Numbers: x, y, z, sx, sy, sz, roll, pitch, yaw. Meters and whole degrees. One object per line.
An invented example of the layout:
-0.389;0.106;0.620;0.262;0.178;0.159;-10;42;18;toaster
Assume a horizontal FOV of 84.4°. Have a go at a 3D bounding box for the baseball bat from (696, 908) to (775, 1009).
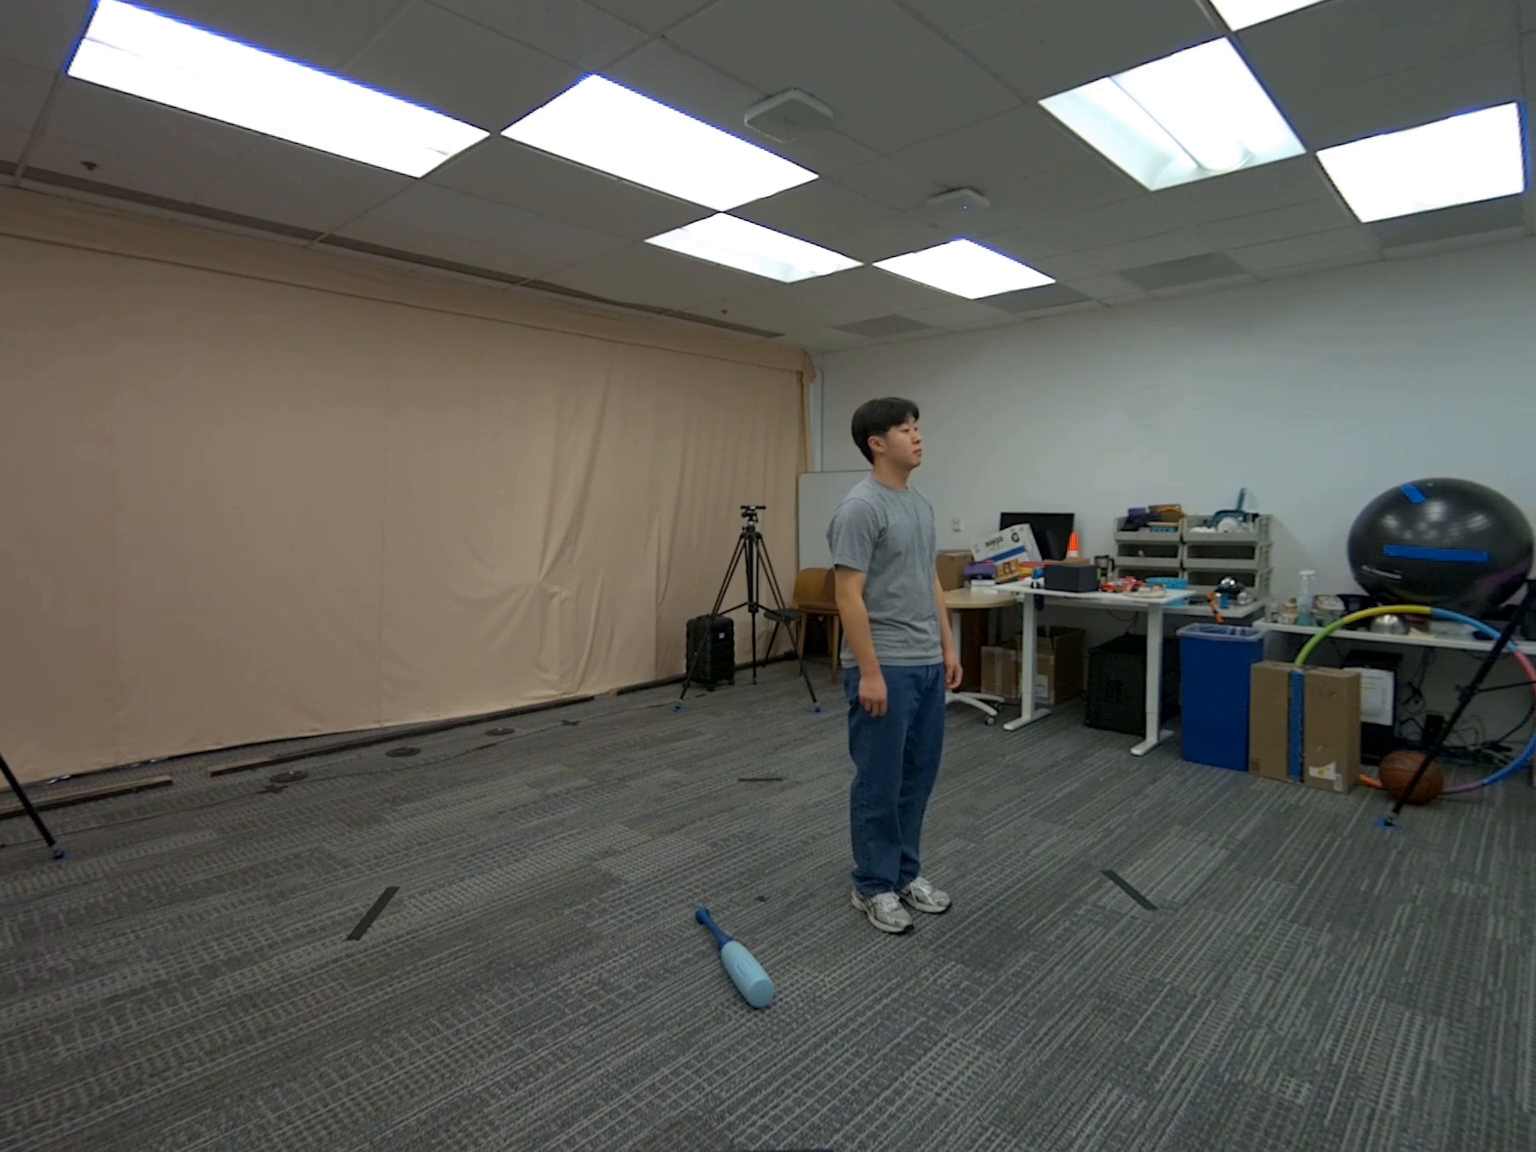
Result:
-0.116;1.145;2.562;0.087;0.089;0.554;-1;2;-21;baseball bat
